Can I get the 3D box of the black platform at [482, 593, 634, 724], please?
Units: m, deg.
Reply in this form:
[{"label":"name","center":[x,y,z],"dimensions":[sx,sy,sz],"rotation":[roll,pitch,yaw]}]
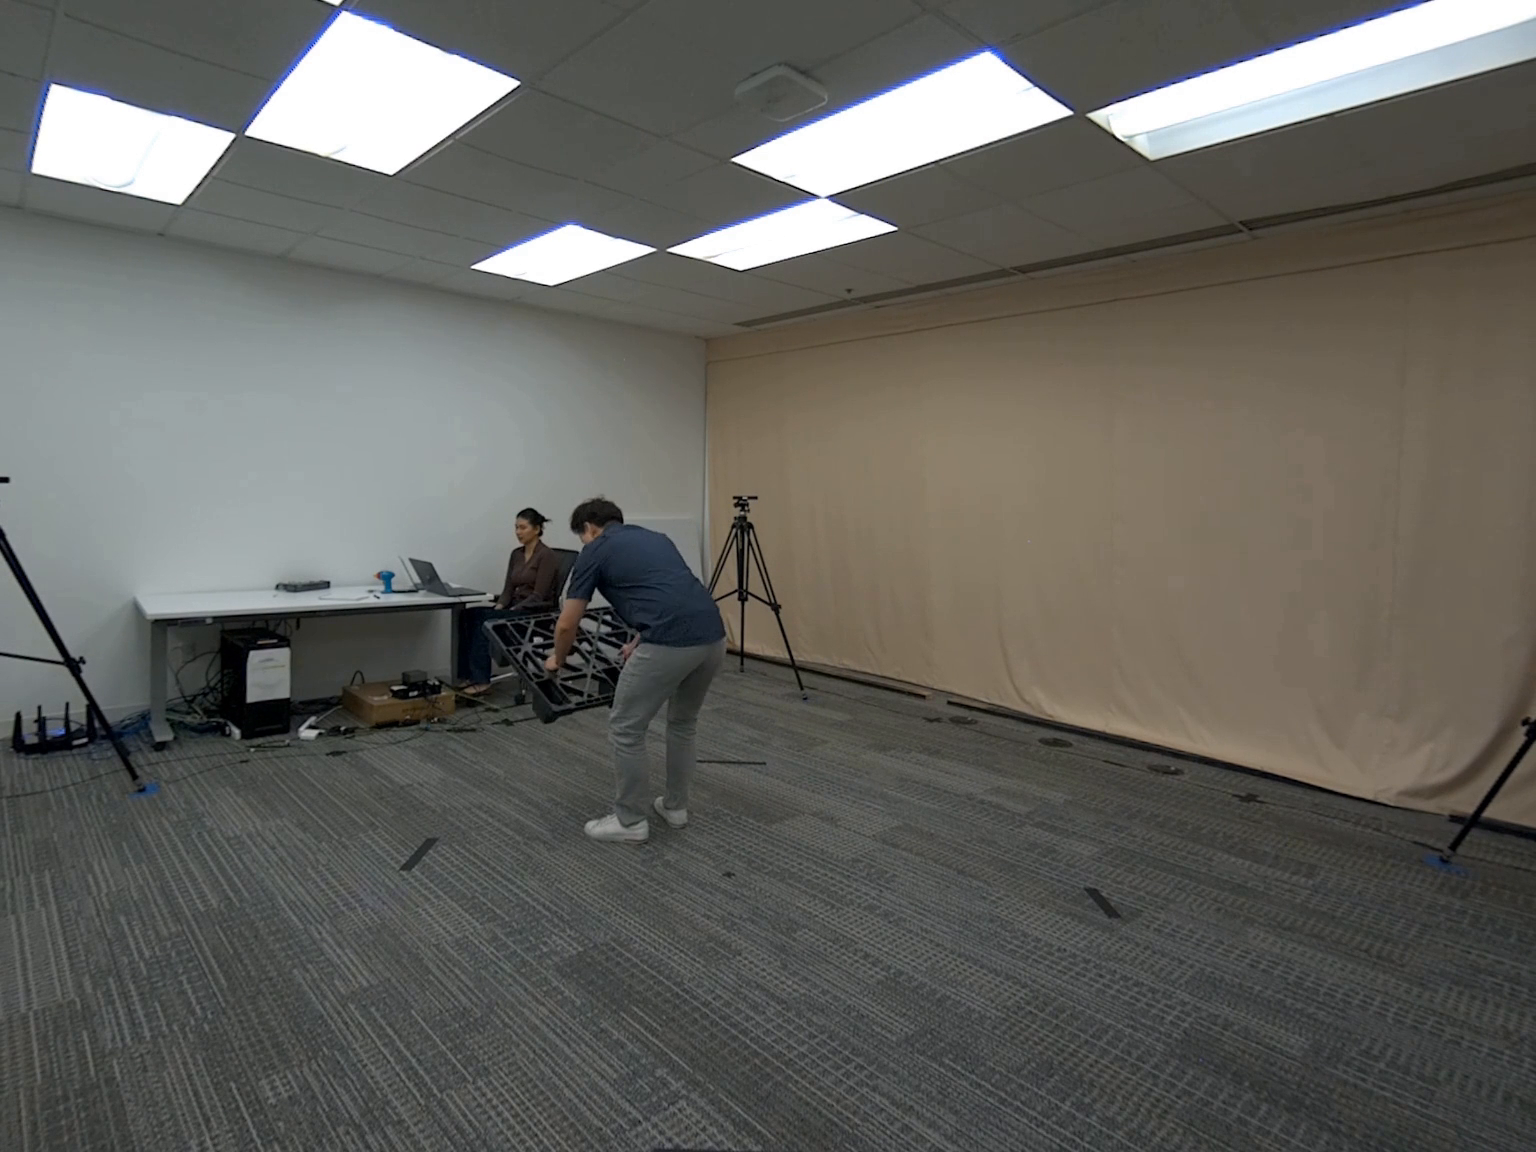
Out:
[{"label":"black platform","center":[-0.814,0.384,3.767],"dimensions":[0.788,0.142,0.623],"rotation":[-5,37,-48]}]
